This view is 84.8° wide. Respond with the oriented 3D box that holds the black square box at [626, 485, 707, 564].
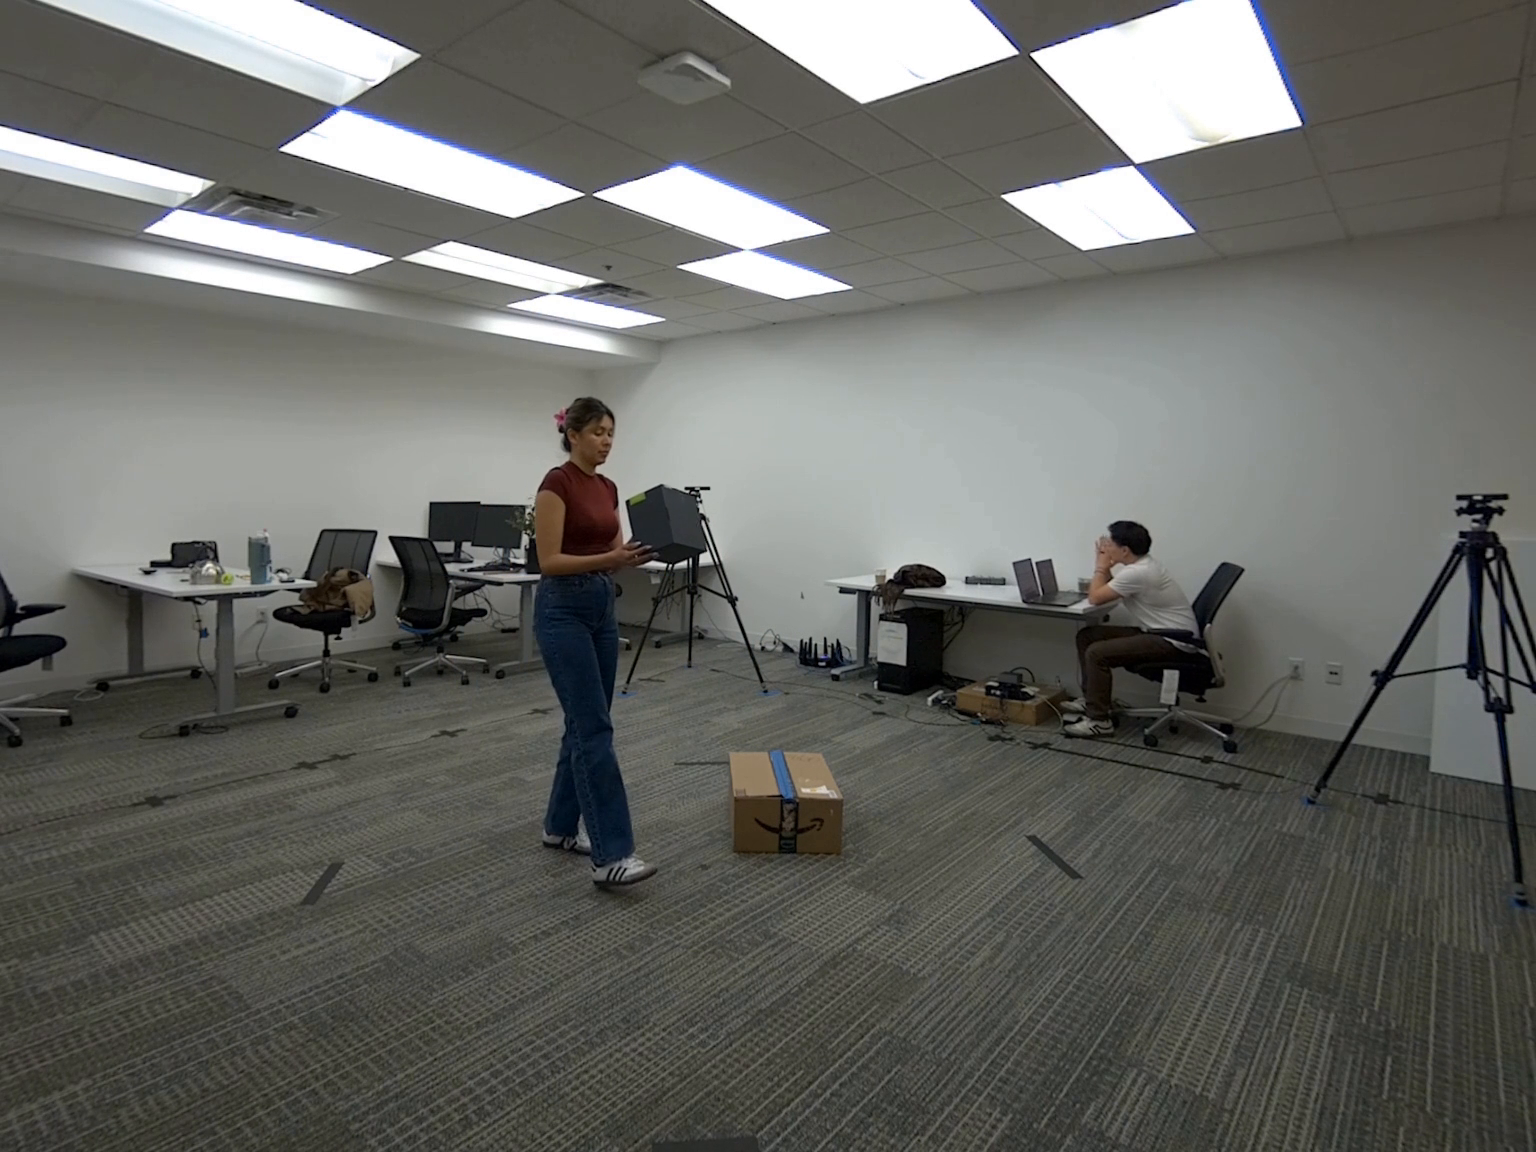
[{"bbox_3d":[-0.363,-0.176,2.962,0.158,0.221,0.220,-22,-17,23],"label":"black square box"}]
